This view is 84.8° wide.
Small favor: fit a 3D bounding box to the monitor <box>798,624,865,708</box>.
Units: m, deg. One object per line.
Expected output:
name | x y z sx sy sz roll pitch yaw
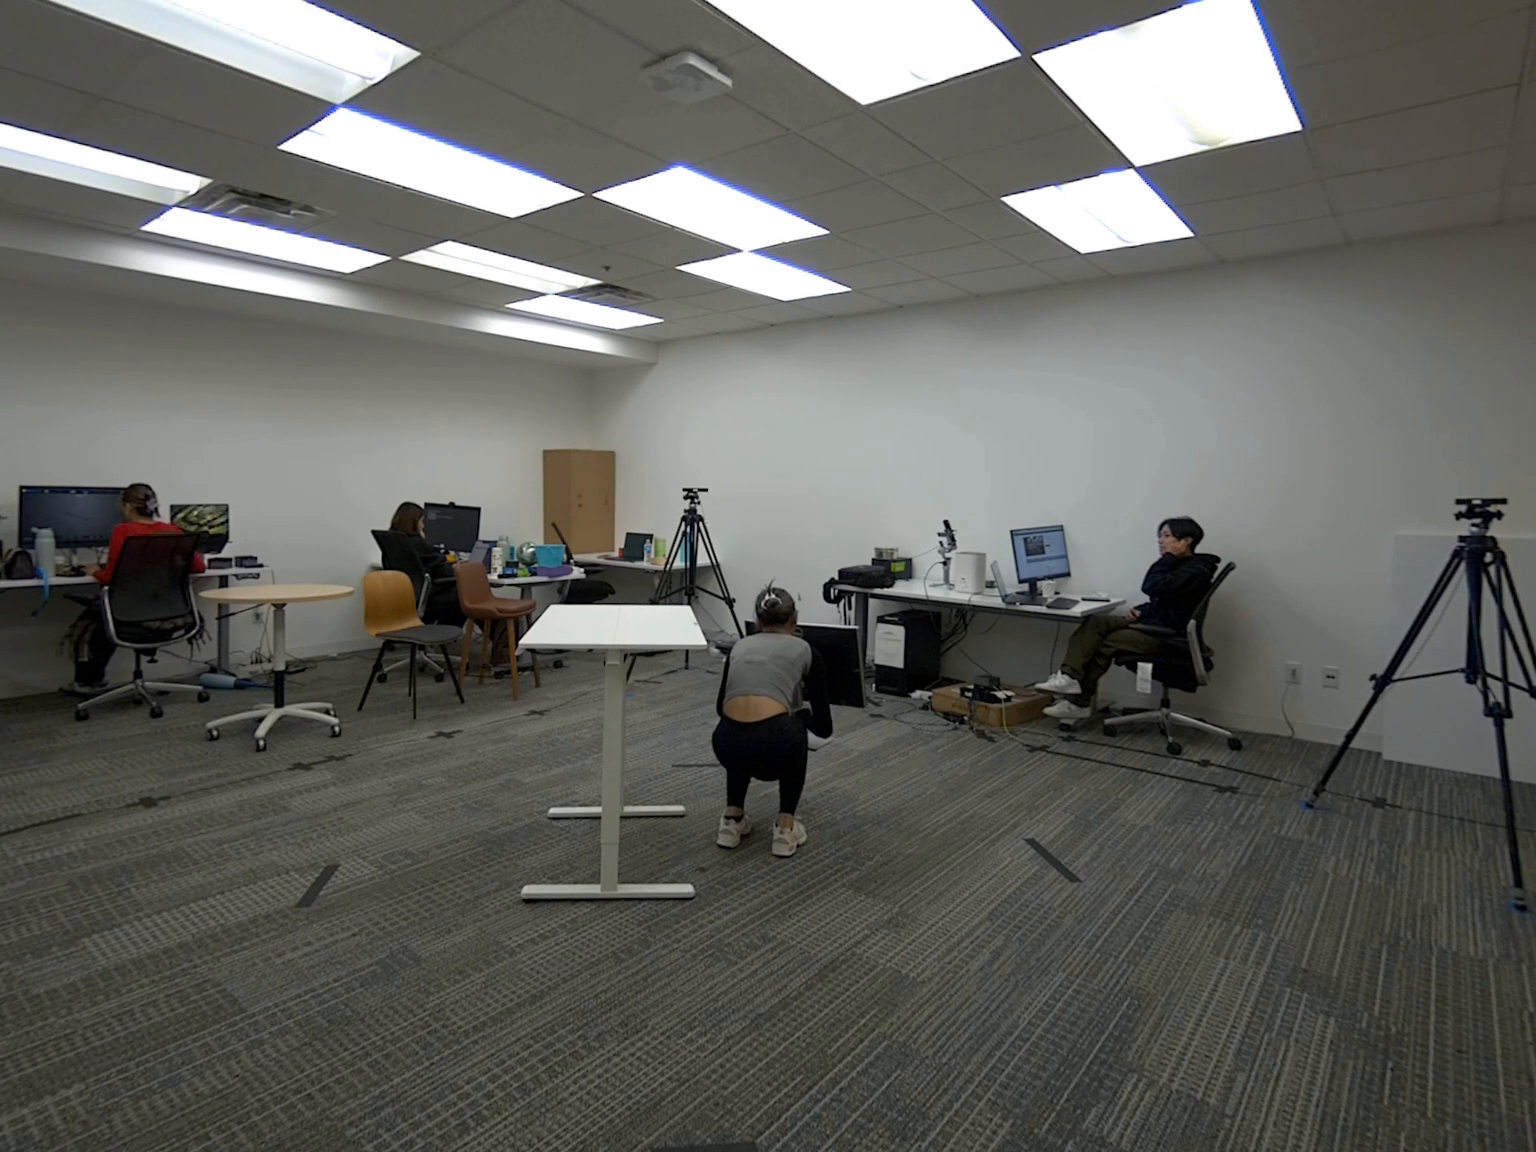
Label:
monitor | 0.137 0.474 3.733 0.554 0.521 0.182 1 2 30
